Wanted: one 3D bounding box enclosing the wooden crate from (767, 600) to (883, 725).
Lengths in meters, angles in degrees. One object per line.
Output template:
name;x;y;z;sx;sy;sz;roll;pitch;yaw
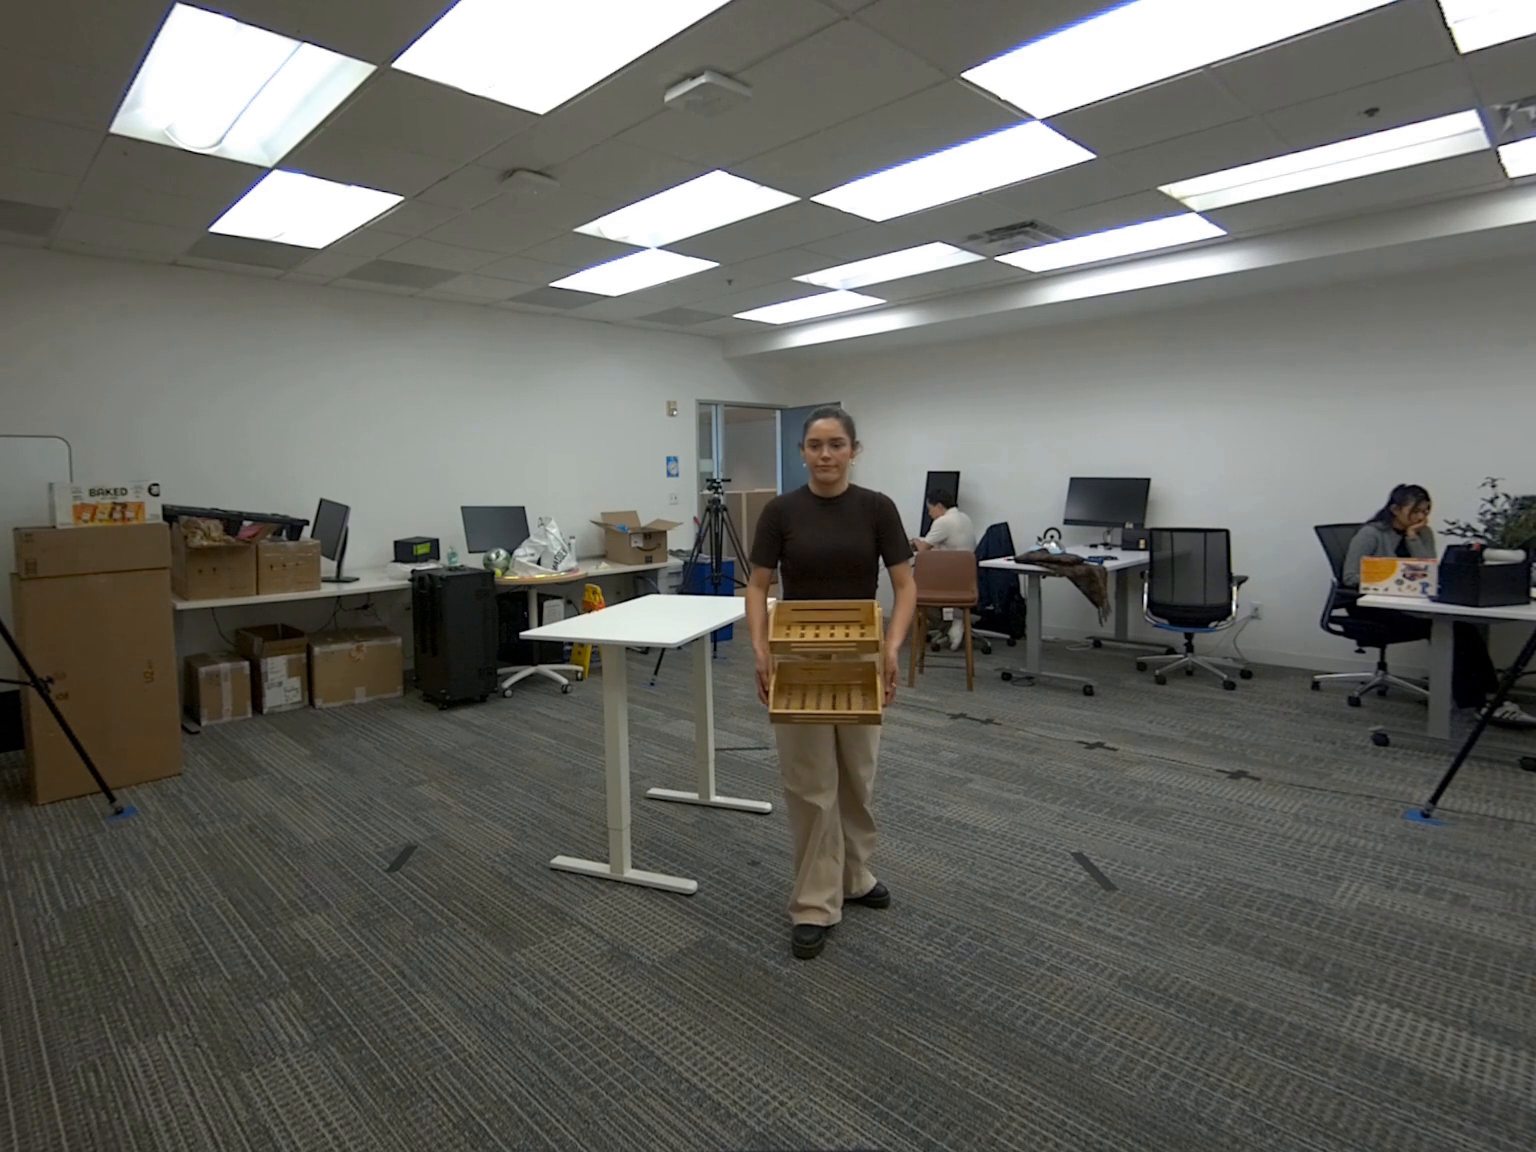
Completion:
wooden crate;0.167;0.238;2.402;0.327;0.269;0.304;-2;15;7
